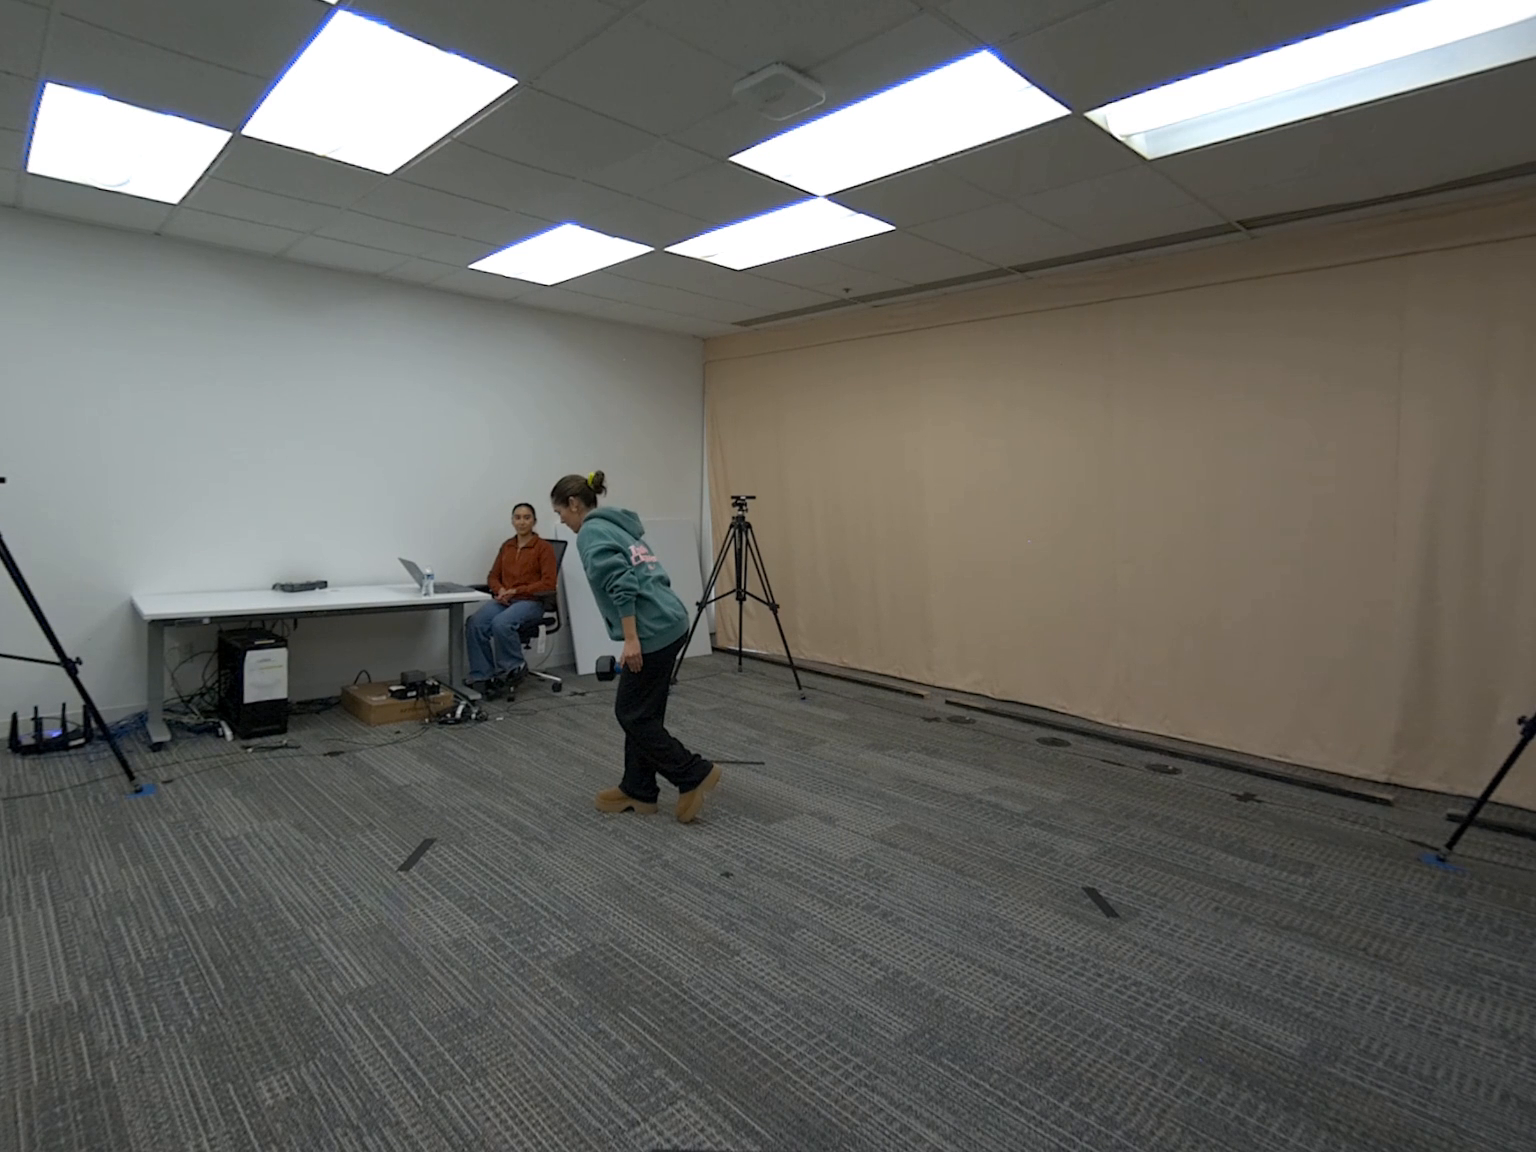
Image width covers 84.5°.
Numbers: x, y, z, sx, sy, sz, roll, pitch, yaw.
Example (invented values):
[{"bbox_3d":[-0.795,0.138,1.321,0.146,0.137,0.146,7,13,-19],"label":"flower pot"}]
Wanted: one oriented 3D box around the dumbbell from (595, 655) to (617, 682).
[{"bbox_3d":[-0.646,0.421,3.869,0.295,0.125,0.106,0,-23,4],"label":"dumbbell"}]
